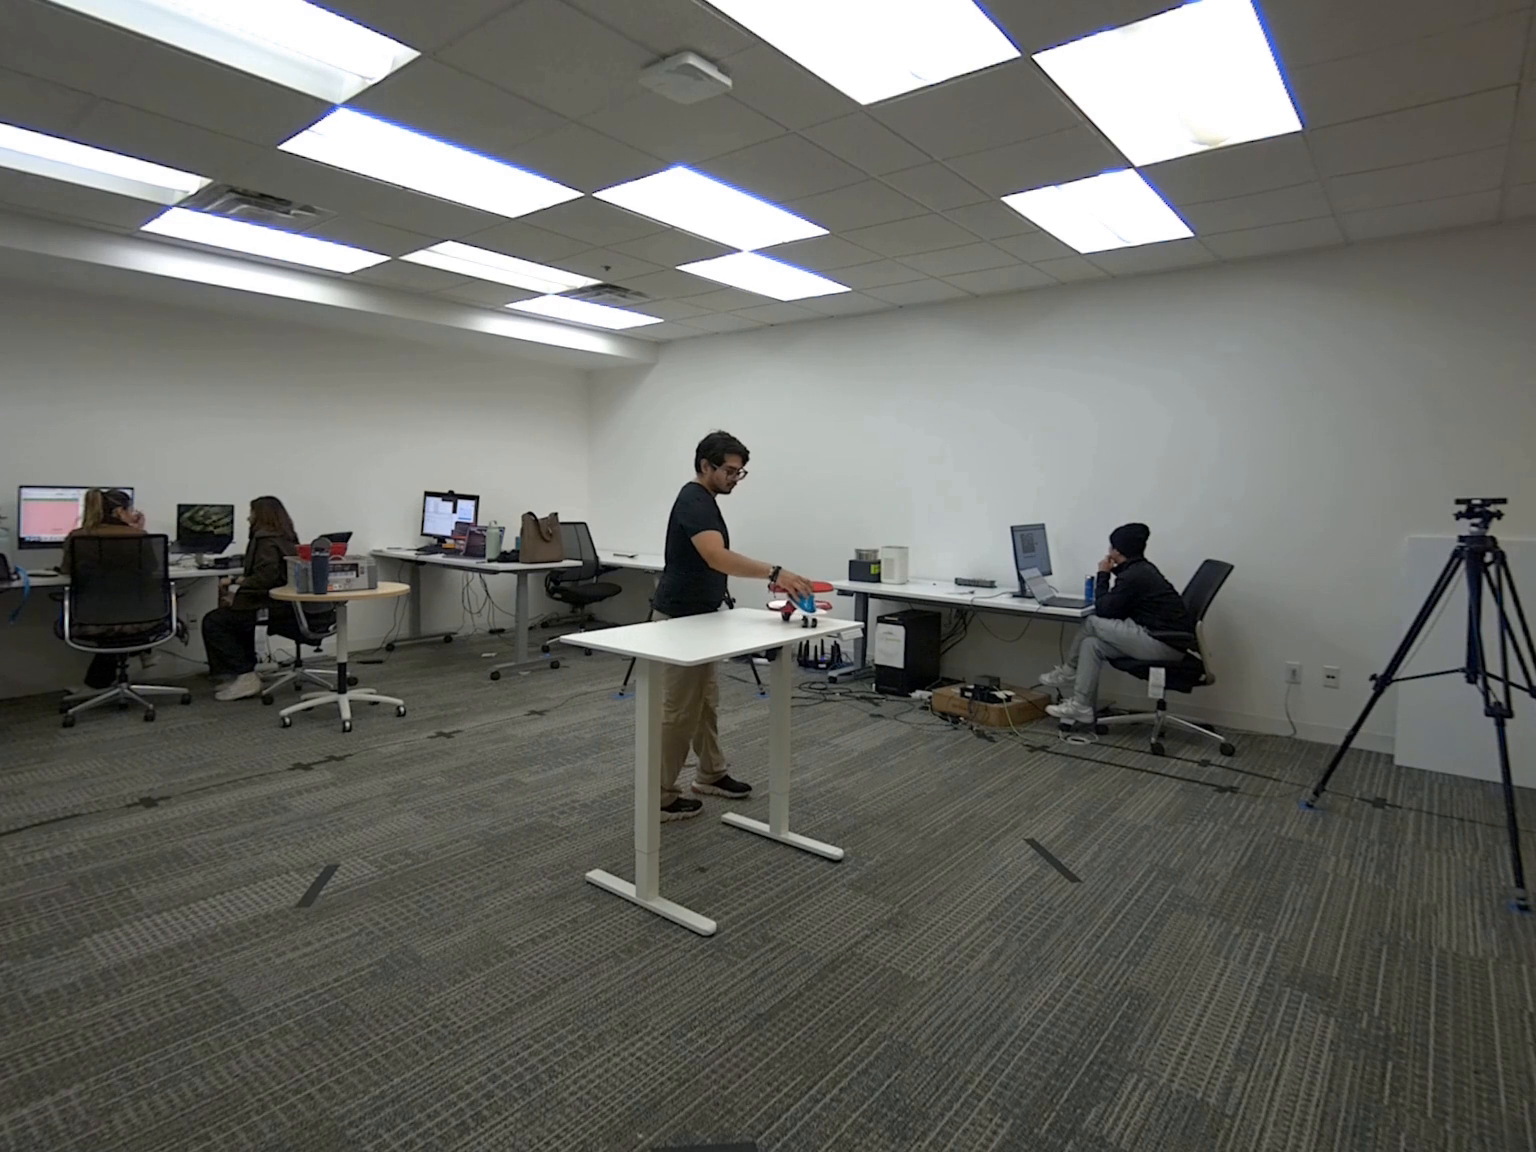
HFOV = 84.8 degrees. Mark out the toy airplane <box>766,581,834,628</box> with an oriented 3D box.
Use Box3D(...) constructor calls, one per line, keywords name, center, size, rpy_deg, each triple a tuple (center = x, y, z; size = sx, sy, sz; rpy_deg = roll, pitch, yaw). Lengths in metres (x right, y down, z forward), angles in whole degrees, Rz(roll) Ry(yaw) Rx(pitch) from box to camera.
Box3D(name="toy airplane", center=(0.136, 0.100, 3.230), size=(0.244, 0.156, 0.267), rpy_deg=(-2, 4, -37))
